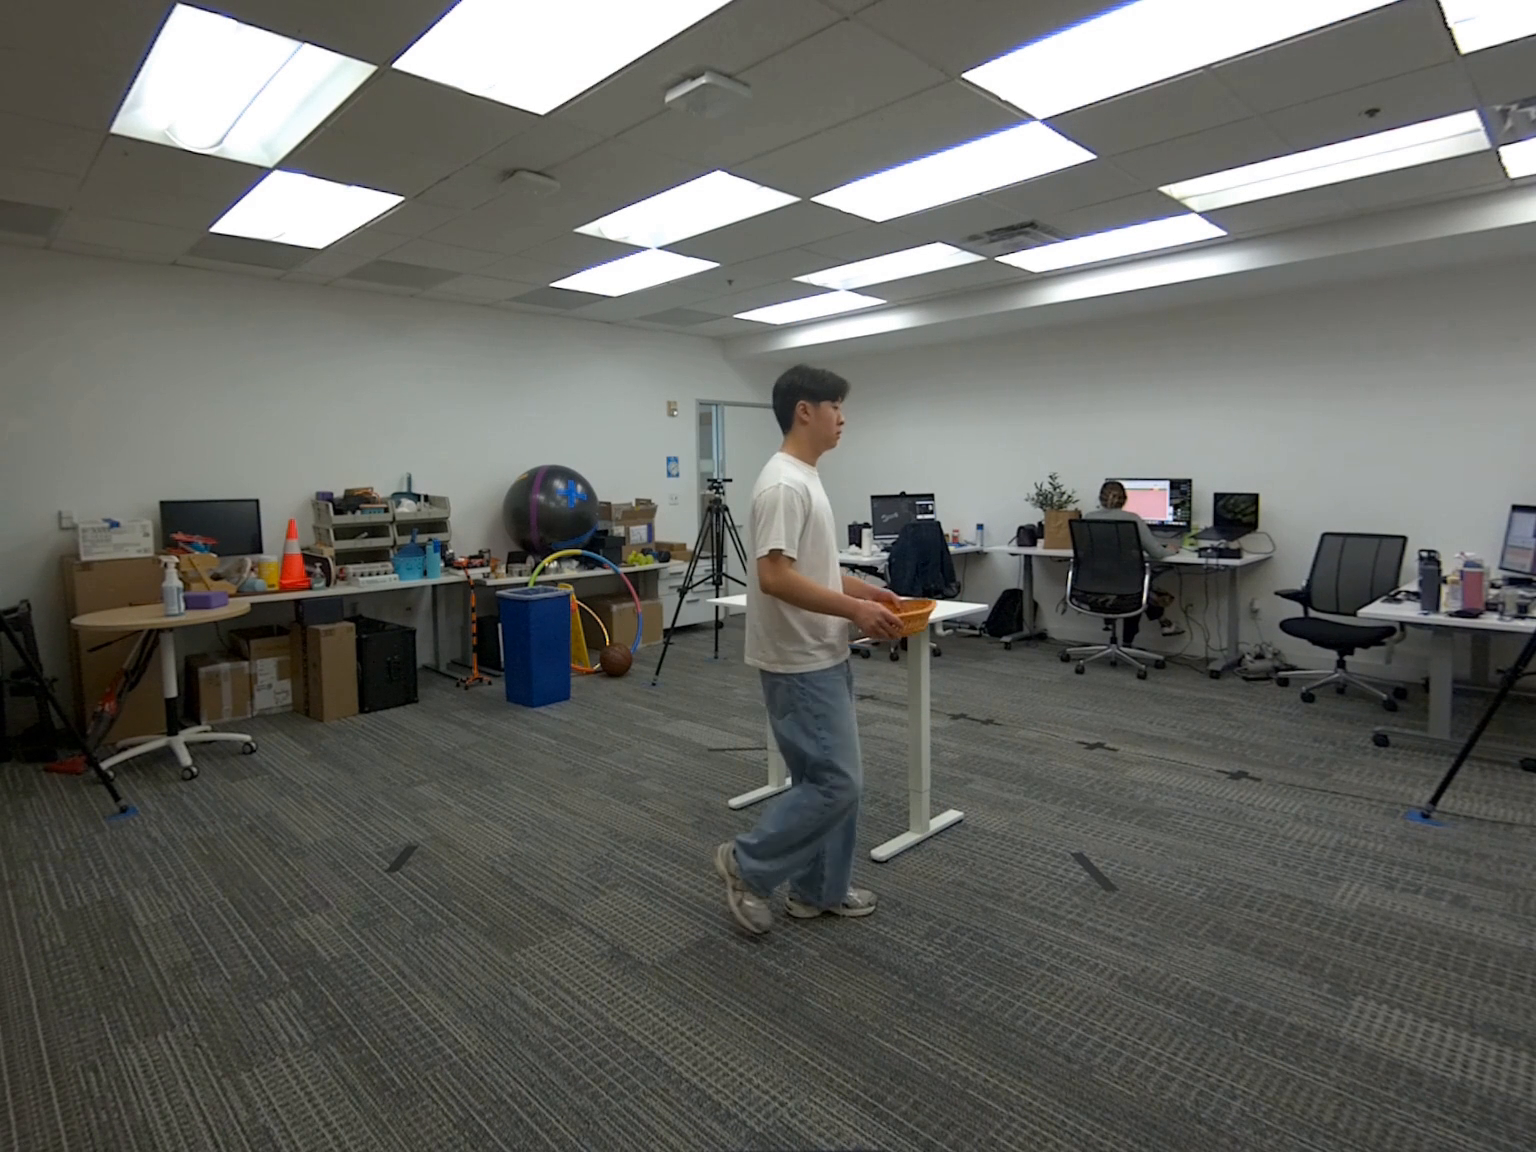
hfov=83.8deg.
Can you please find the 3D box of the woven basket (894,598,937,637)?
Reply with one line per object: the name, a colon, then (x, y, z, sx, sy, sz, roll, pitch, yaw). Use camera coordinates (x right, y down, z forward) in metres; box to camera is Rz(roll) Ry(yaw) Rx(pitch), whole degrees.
woven basket: (0.354, 0.124, 2.577, 0.342, 0.073, 0.260, -6, 6, -35)
